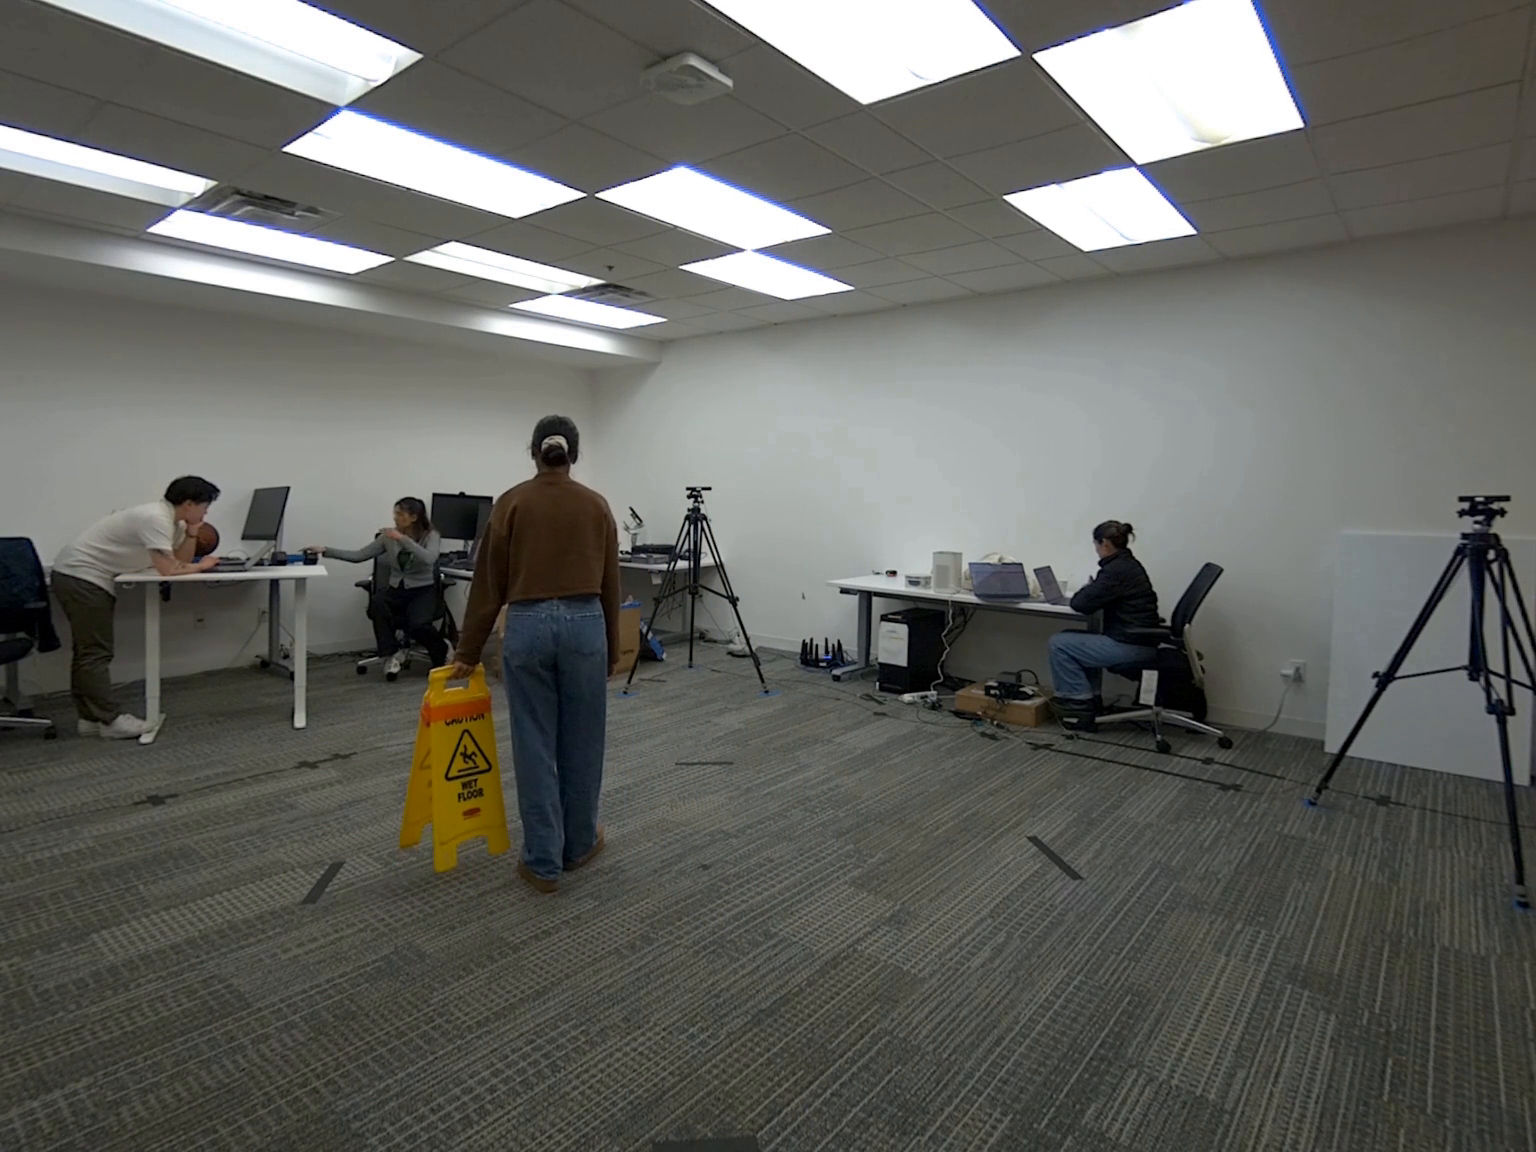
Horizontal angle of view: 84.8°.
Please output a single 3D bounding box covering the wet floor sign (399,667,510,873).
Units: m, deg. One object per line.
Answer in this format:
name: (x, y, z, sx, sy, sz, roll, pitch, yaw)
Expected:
wet floor sign: (-1.101, 0.637, 2.967, 0.300, 0.644, 0.274, 5, 5, 41)
